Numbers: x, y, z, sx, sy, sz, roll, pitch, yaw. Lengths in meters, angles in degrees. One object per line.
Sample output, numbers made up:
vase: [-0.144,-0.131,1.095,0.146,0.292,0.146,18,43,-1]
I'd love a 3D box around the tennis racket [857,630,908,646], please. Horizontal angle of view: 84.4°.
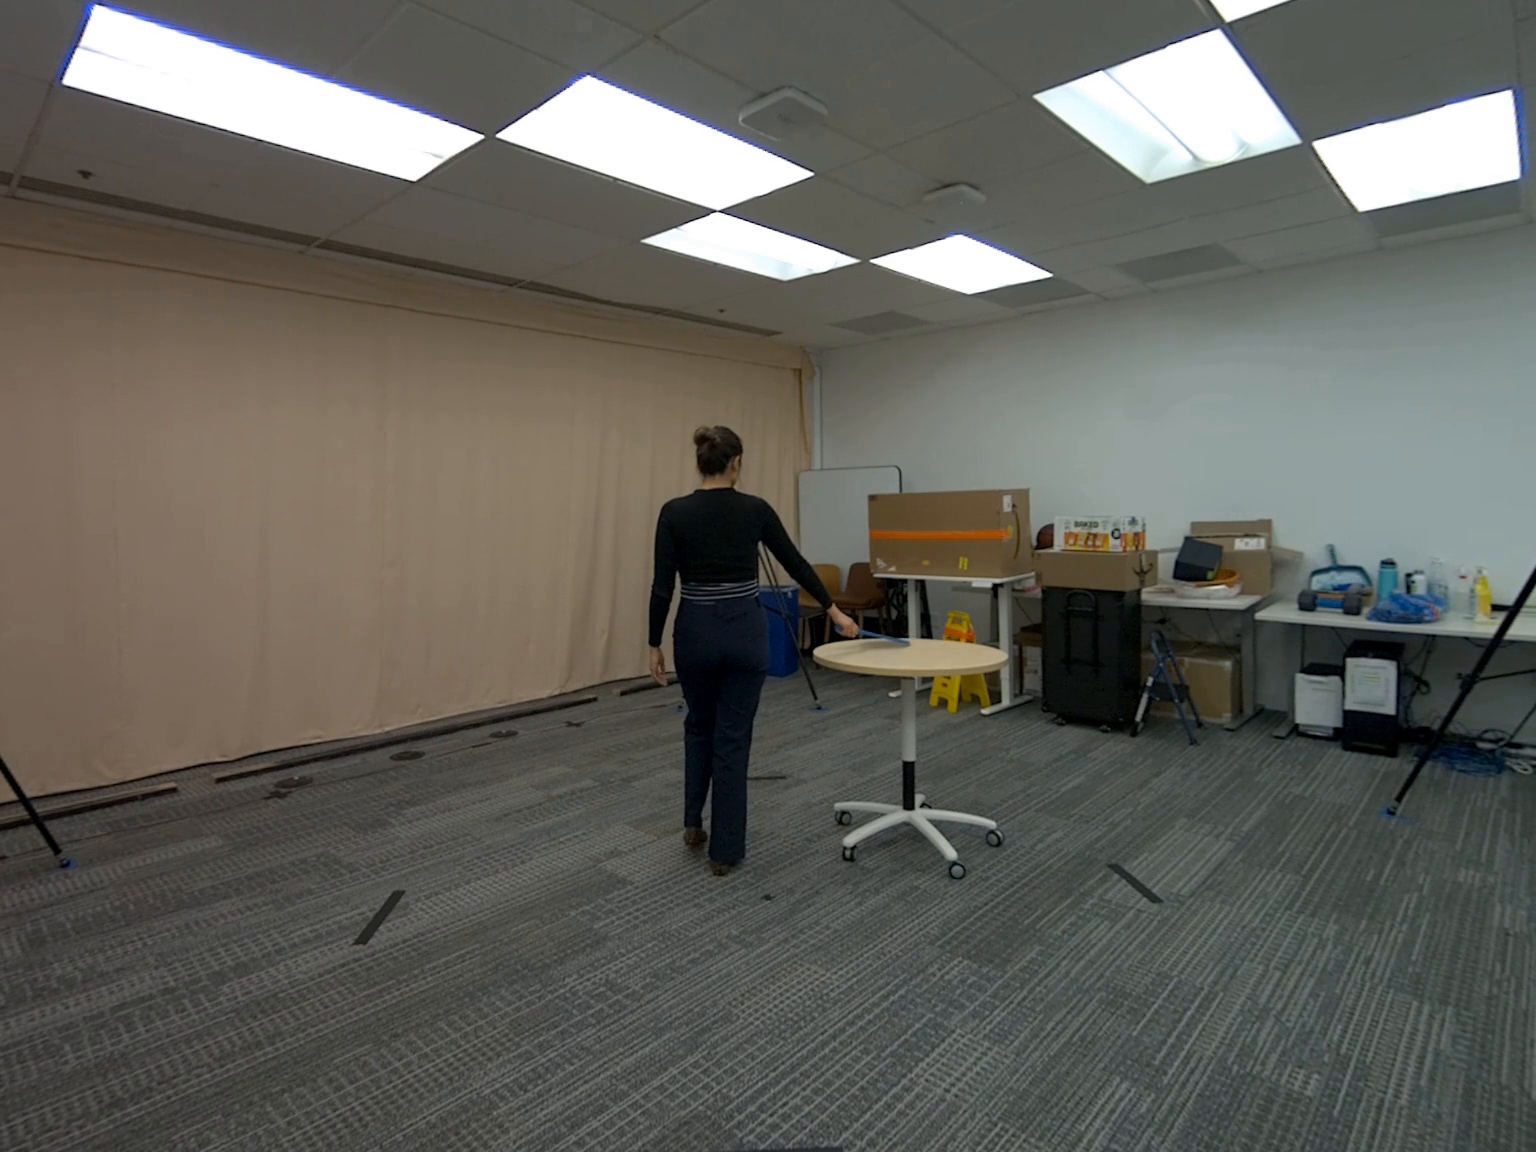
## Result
tennis racket: [0.463,0.258,3.556,0.221,0.032,0.418,8,0,42]
